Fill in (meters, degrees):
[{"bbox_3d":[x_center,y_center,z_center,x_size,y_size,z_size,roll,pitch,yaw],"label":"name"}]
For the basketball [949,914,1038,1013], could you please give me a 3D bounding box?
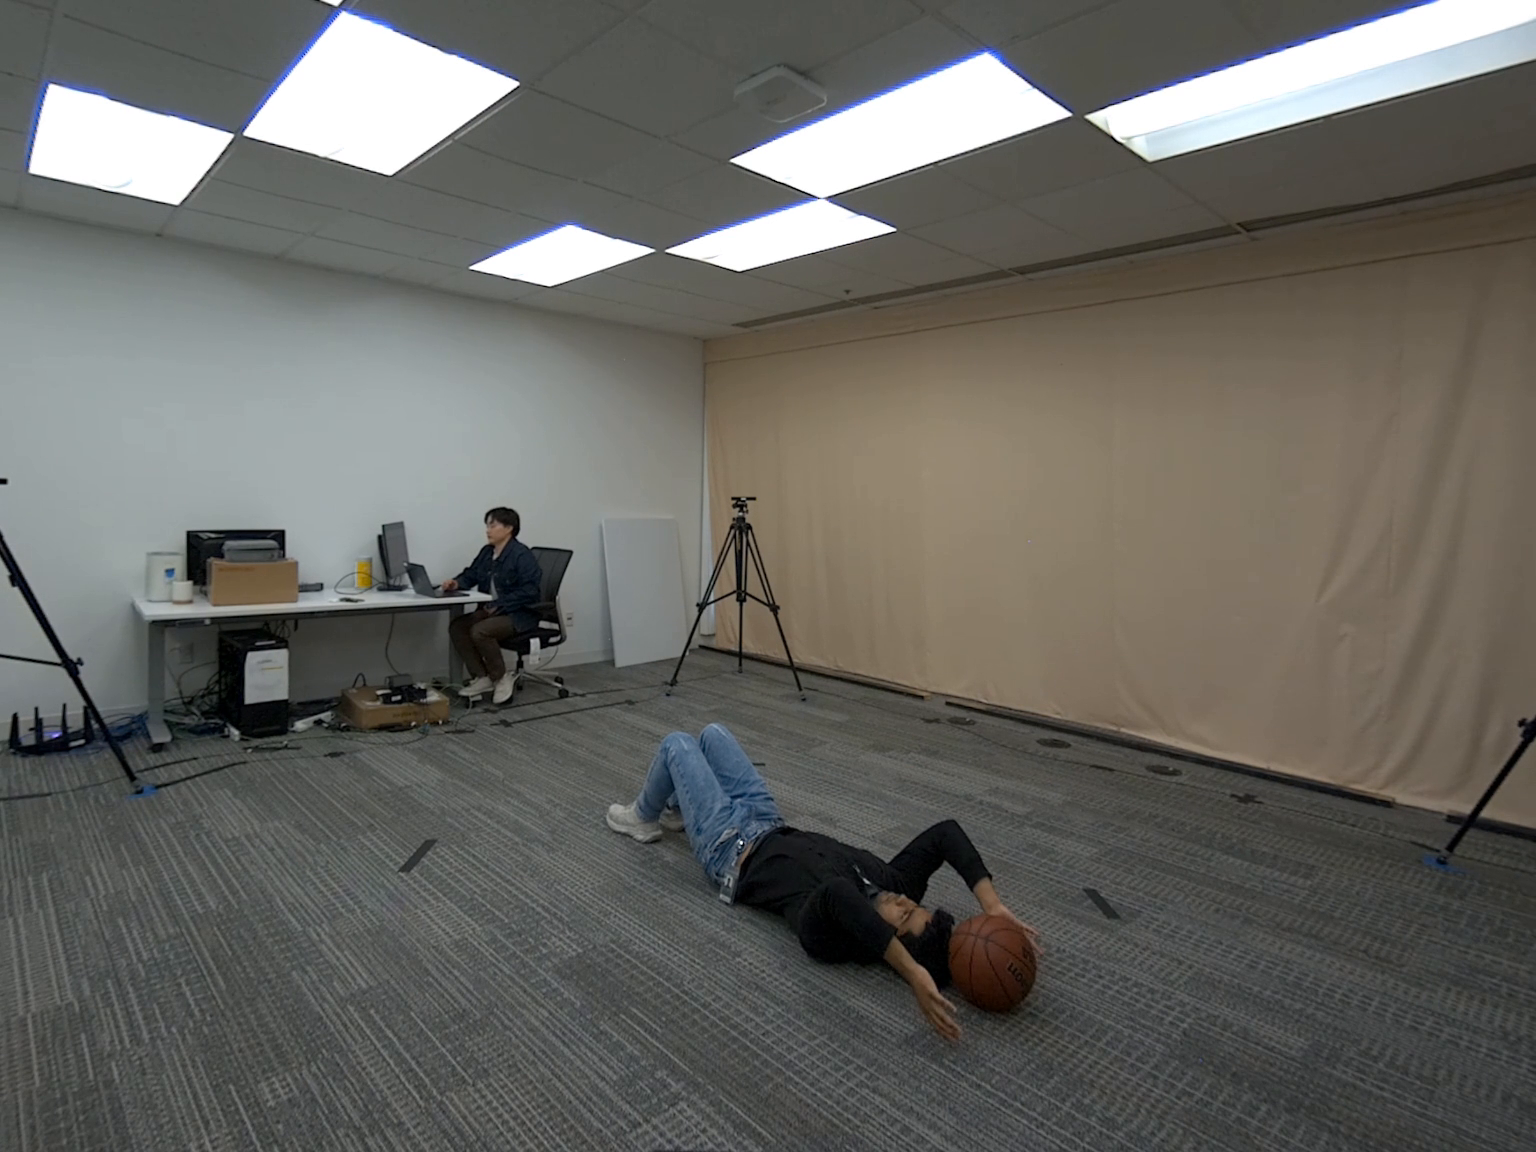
[{"bbox_3d":[0.615,1.075,2.350,0.236,0.235,0.237,1,4,-1],"label":"basketball"}]
